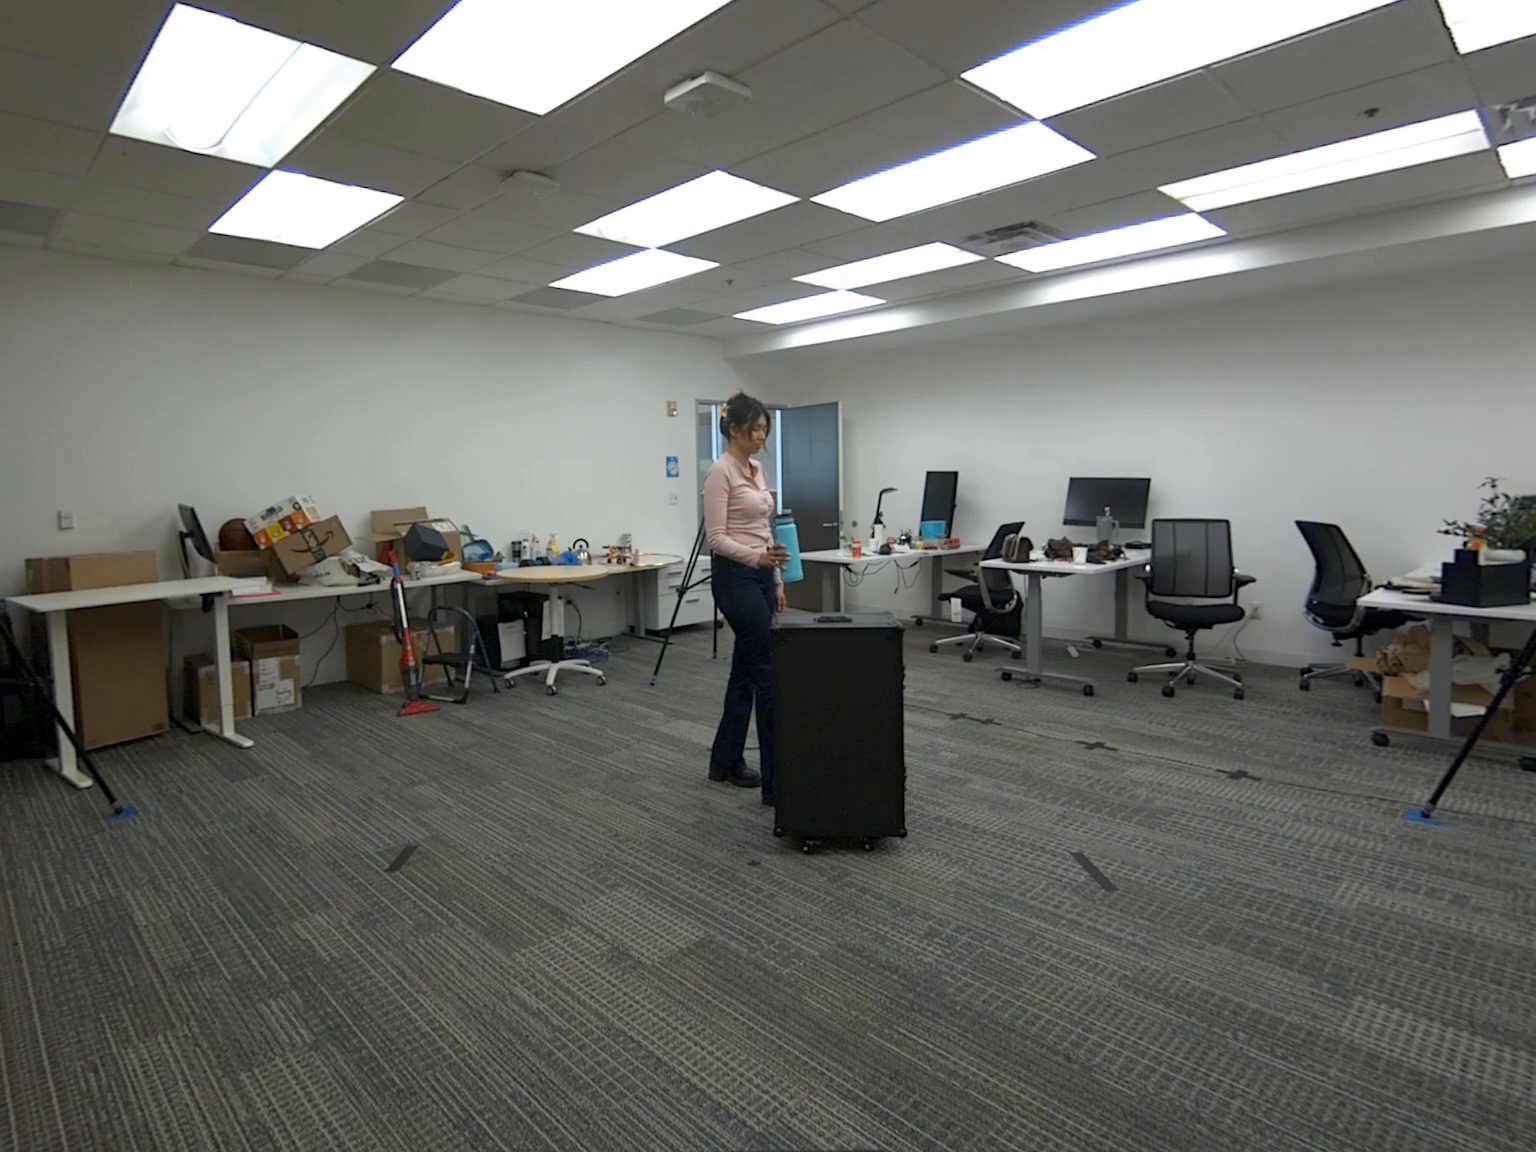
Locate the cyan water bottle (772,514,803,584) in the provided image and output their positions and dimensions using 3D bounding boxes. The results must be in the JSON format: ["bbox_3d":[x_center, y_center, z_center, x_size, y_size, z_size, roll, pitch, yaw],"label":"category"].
[{"bbox_3d":[0.077,-0.124,3.451,0.092,0.282,0.093,-10,4,-1],"label":"cyan water bottle"}]
